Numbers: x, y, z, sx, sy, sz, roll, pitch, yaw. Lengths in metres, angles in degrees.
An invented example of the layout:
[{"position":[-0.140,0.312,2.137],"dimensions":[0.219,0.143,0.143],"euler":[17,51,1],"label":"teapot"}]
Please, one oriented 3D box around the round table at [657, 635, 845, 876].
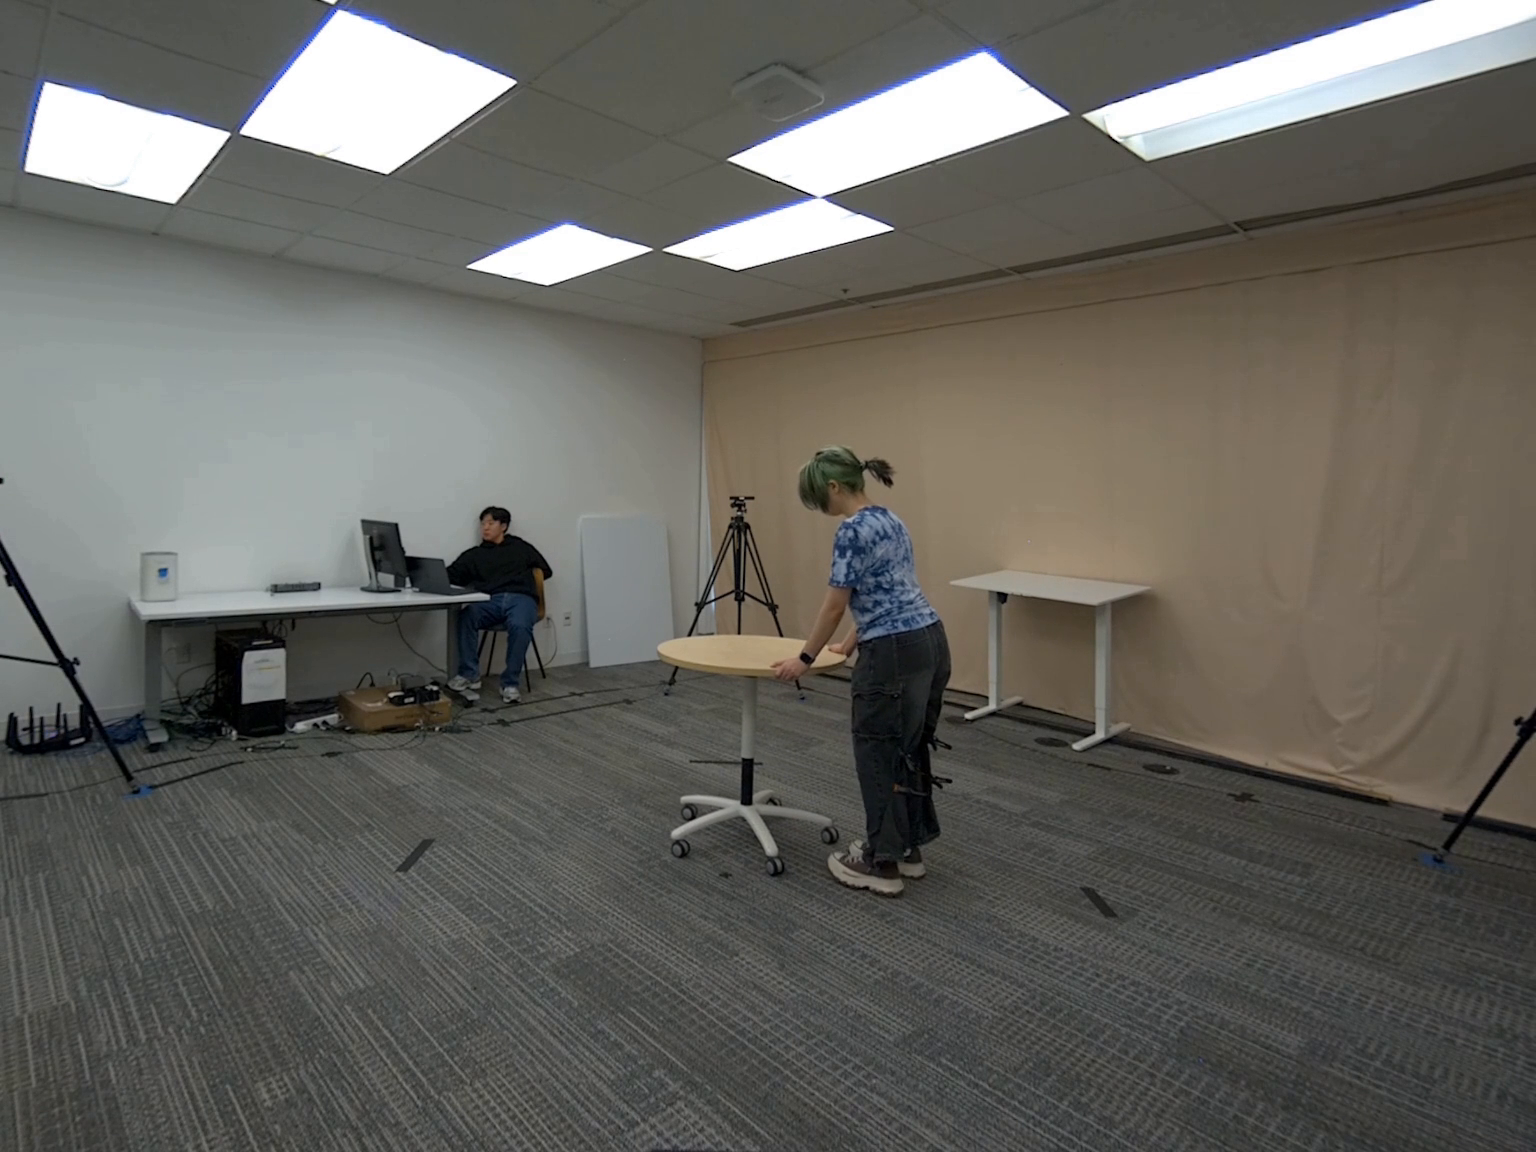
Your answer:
[{"position":[-0.083,0.692,3.441],"dimensions":[0.763,0.792,0.766],"euler":[2,3,-1],"label":"round table"}]
